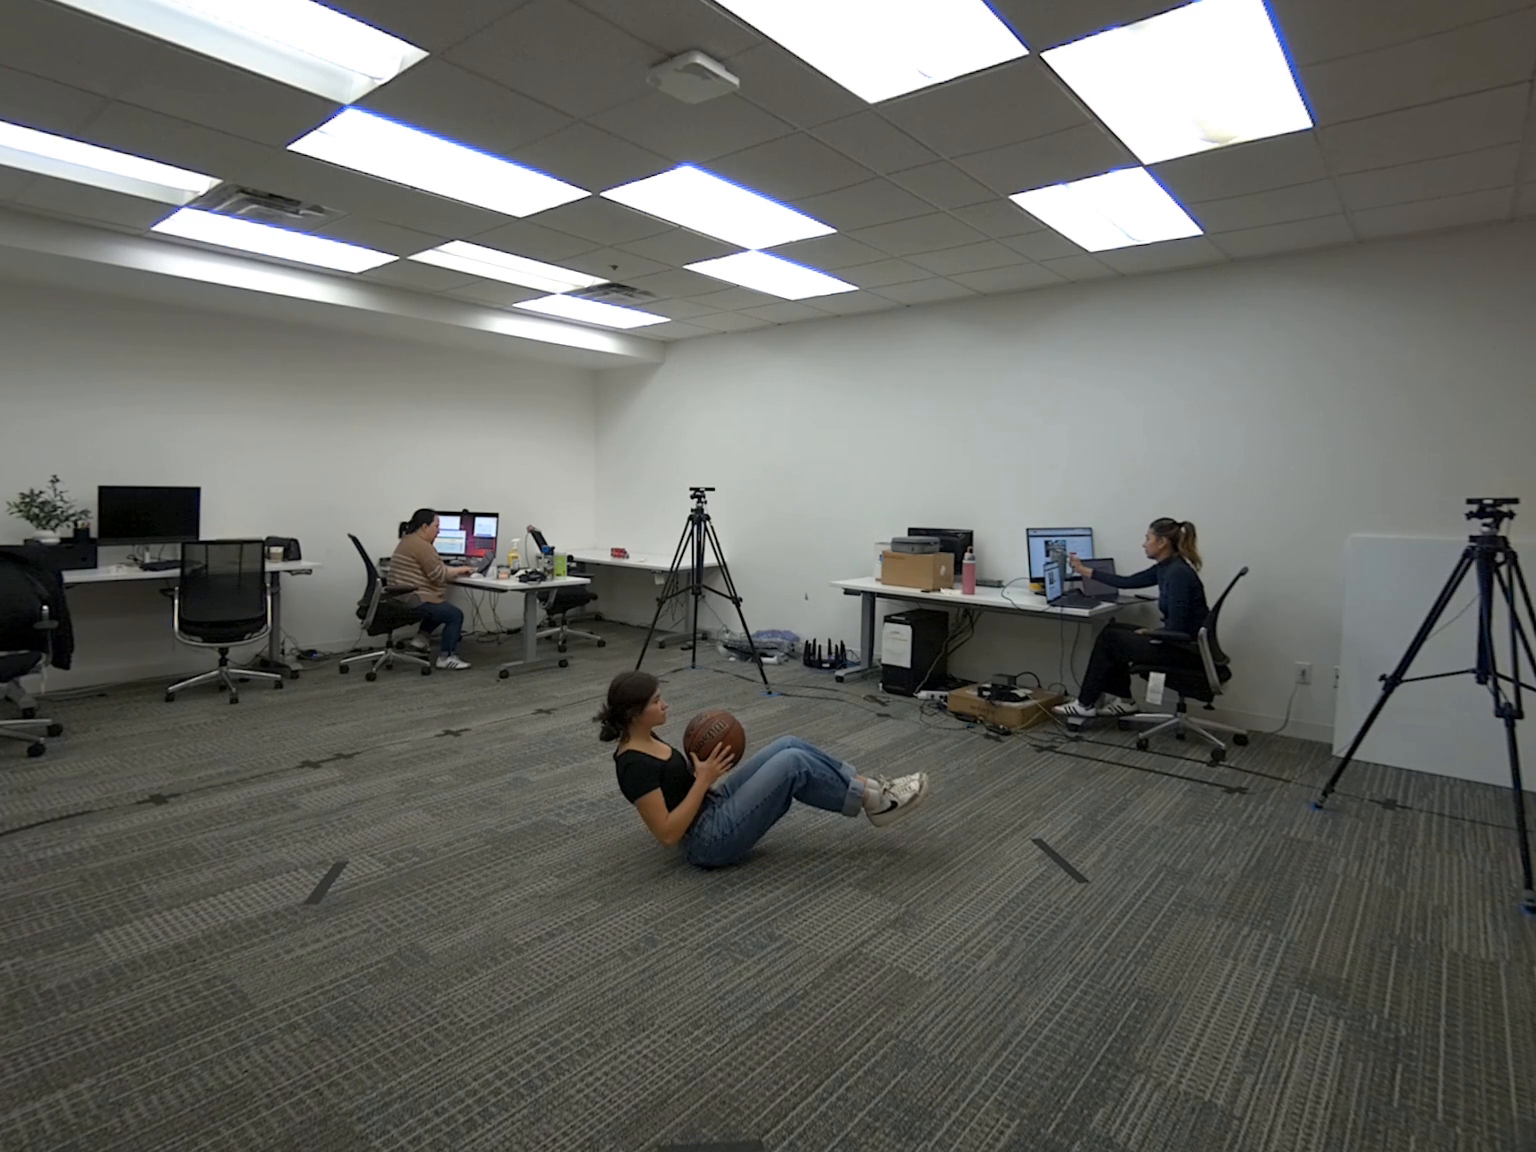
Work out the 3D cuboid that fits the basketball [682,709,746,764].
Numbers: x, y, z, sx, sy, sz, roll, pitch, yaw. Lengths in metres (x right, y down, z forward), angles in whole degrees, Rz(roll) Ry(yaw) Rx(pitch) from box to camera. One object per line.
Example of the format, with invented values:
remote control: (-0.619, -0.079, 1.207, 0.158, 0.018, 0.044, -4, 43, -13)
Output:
basketball: (-0.220, 0.635, 3.243, 0.235, 0.235, 0.237, 1, 4, -2)
